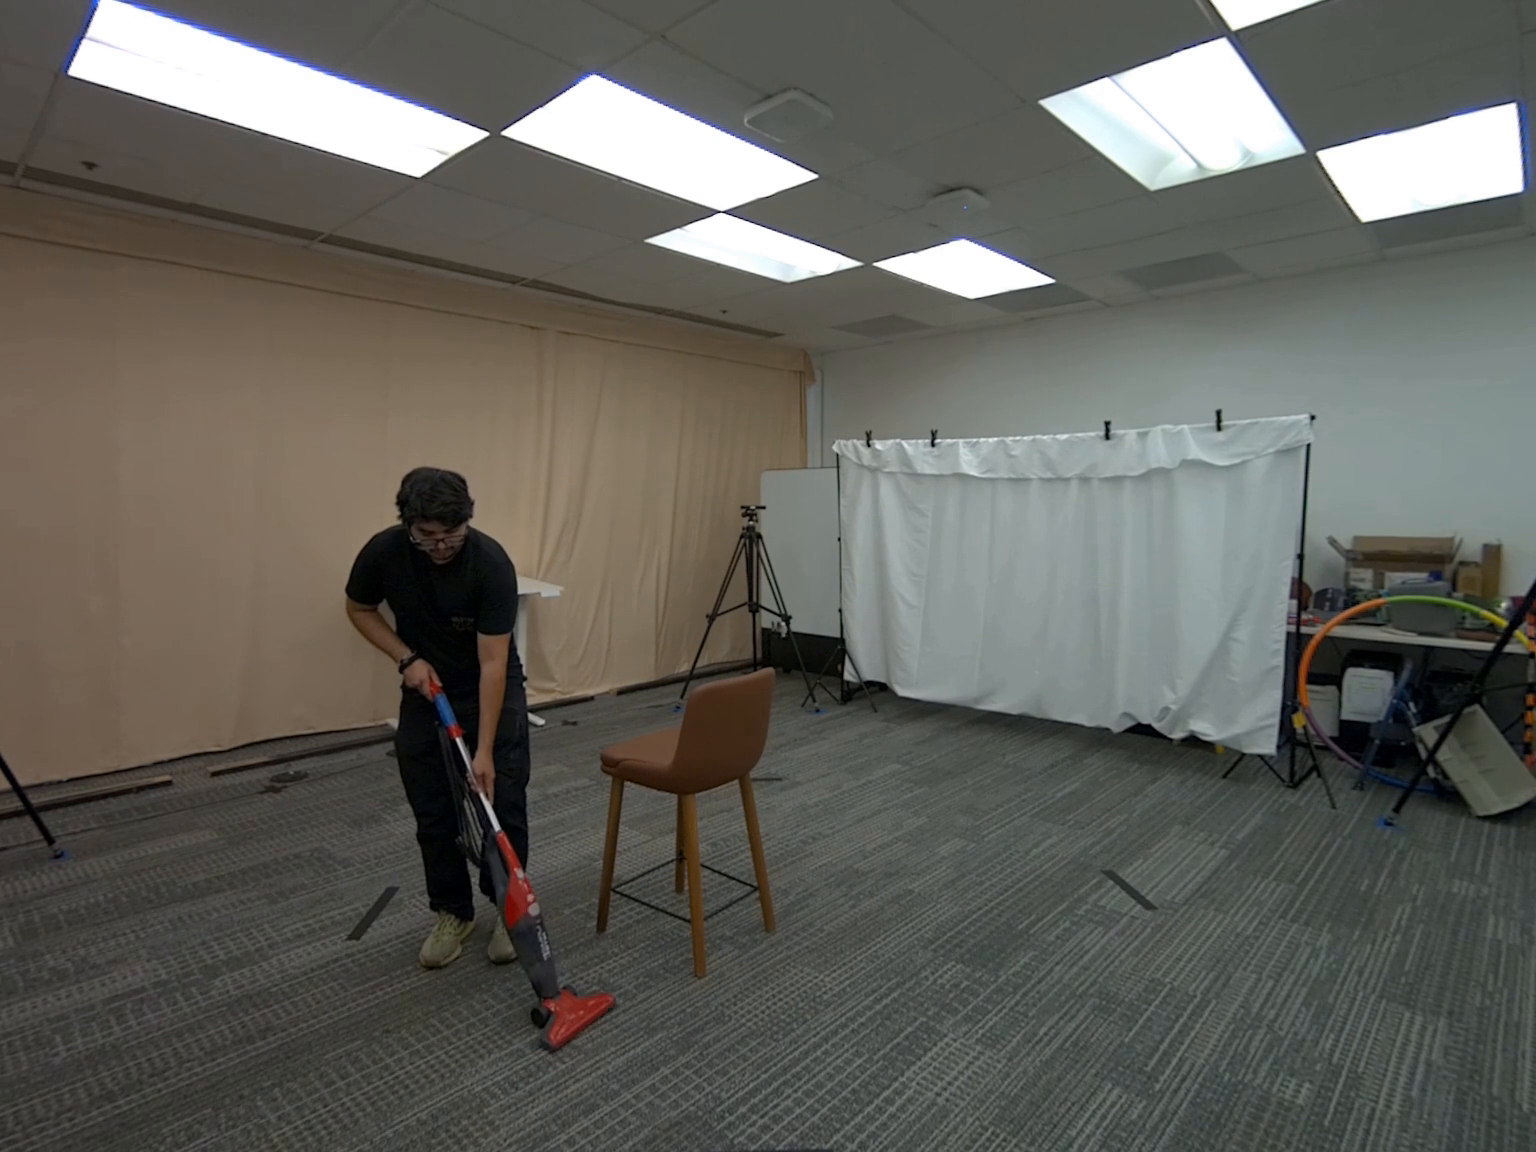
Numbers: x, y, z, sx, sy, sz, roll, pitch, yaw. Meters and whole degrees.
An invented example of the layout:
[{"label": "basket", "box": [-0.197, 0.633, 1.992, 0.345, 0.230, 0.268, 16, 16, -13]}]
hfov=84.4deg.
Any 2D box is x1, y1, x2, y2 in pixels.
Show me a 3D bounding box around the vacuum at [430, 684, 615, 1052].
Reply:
[{"label": "vacuum", "box": [-0.777, 0.759, 2.401, 0.146, 1.064, 0.246, -36, -15, 28]}]
